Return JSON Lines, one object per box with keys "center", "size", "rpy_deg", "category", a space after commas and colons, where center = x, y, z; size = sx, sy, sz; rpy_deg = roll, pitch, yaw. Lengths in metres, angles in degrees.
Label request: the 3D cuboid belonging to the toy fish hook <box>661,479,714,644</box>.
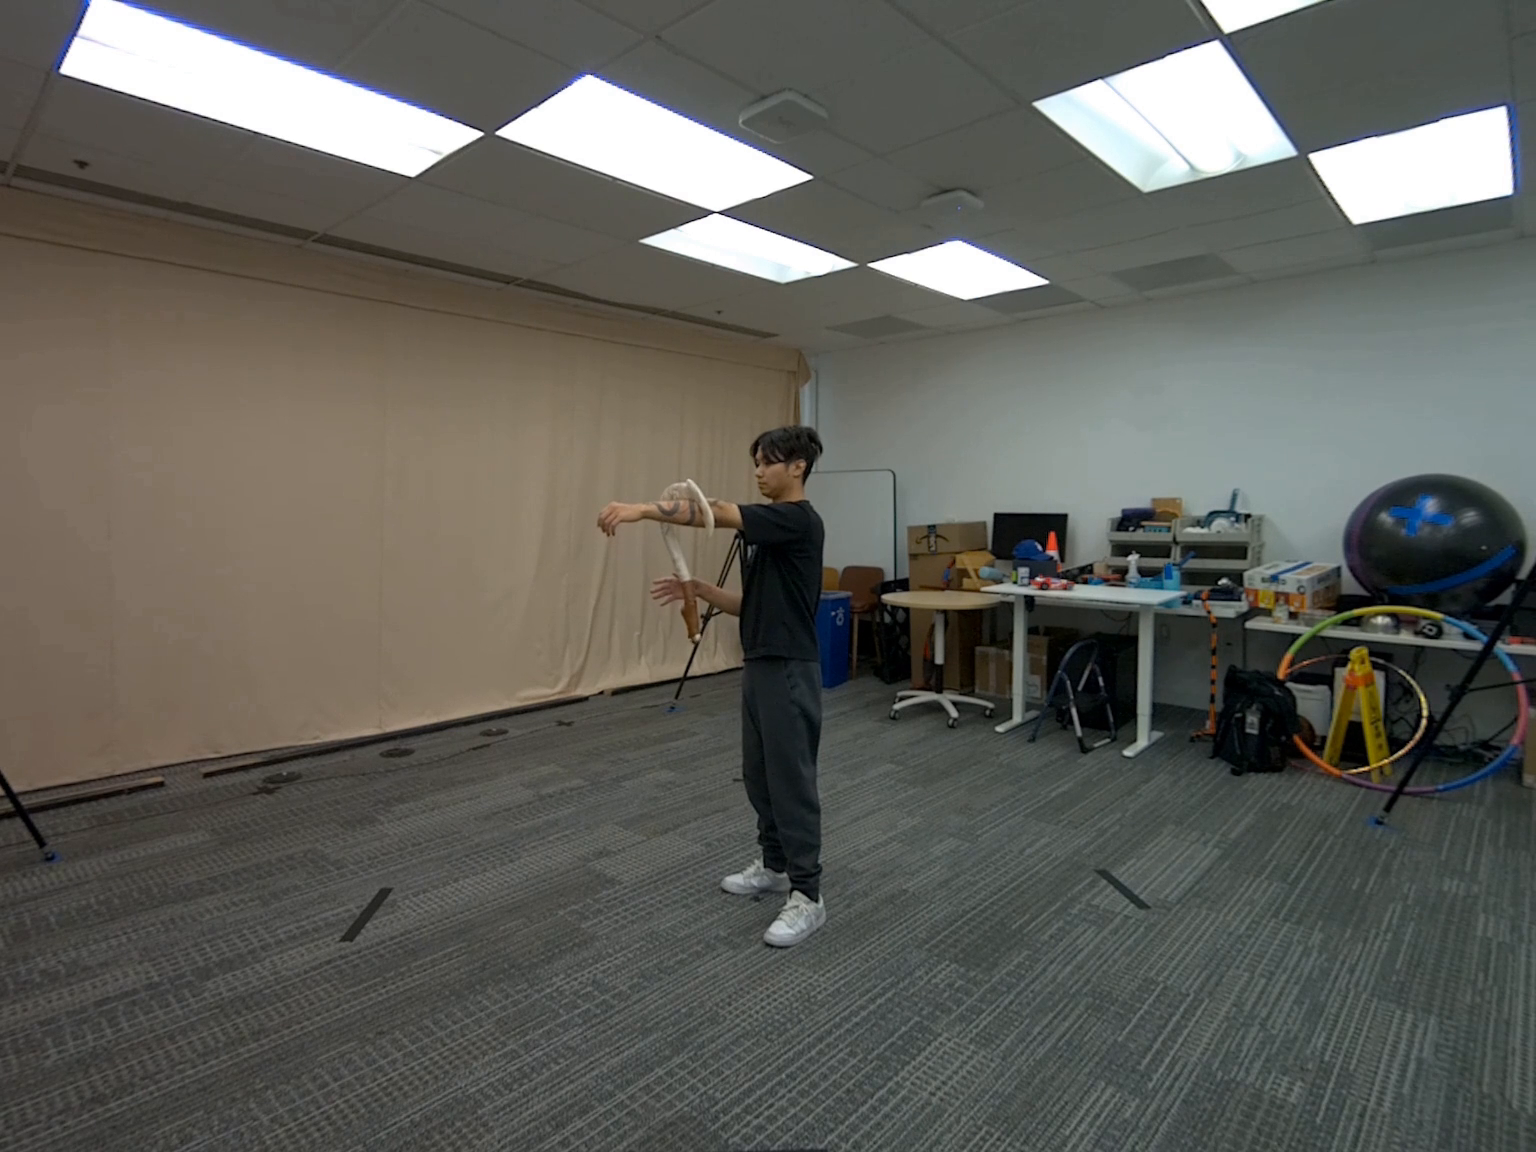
{"center": [-0.229, -0.042, 2.633], "size": [0.230, 0.508, 0.047], "rpy_deg": [-14, -4, 43], "category": "toy fish hook"}
